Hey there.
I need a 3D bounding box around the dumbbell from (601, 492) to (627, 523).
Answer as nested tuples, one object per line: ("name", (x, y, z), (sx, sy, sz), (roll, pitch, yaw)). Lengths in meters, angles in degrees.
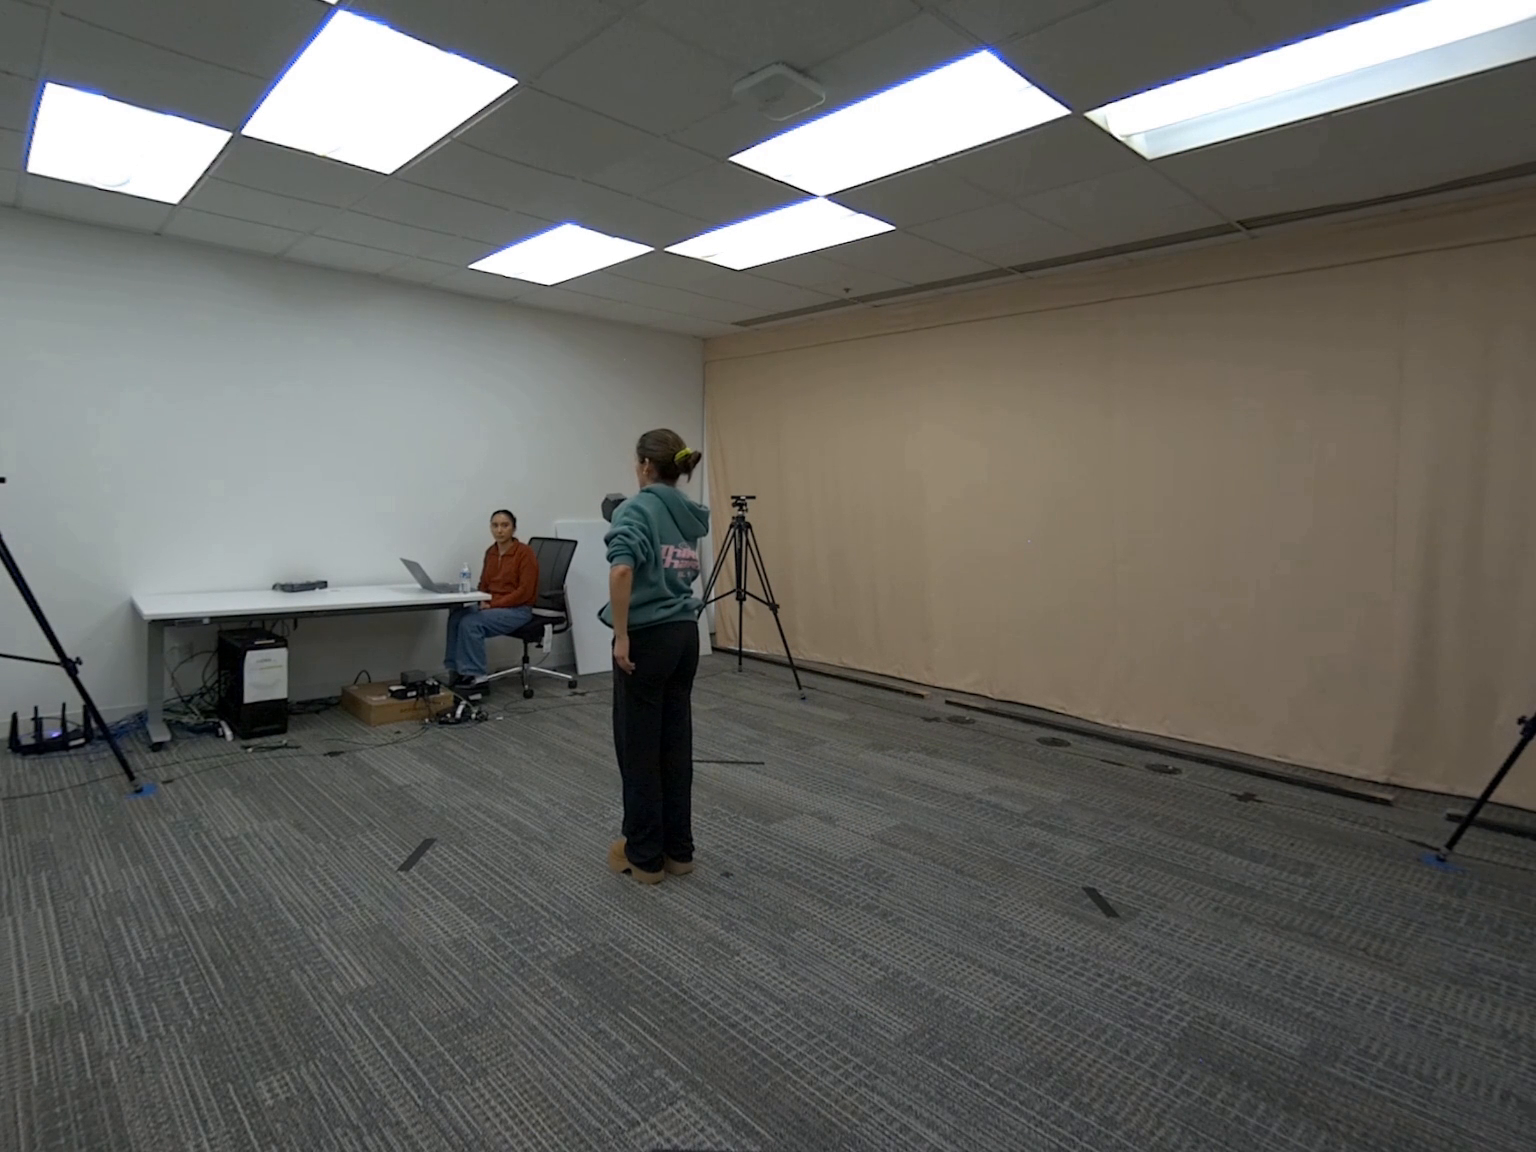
("dumbbell", (-0.534, -0.281, 3.429), (0.288, 0.107, 0.127), (-10, 31, -41))
